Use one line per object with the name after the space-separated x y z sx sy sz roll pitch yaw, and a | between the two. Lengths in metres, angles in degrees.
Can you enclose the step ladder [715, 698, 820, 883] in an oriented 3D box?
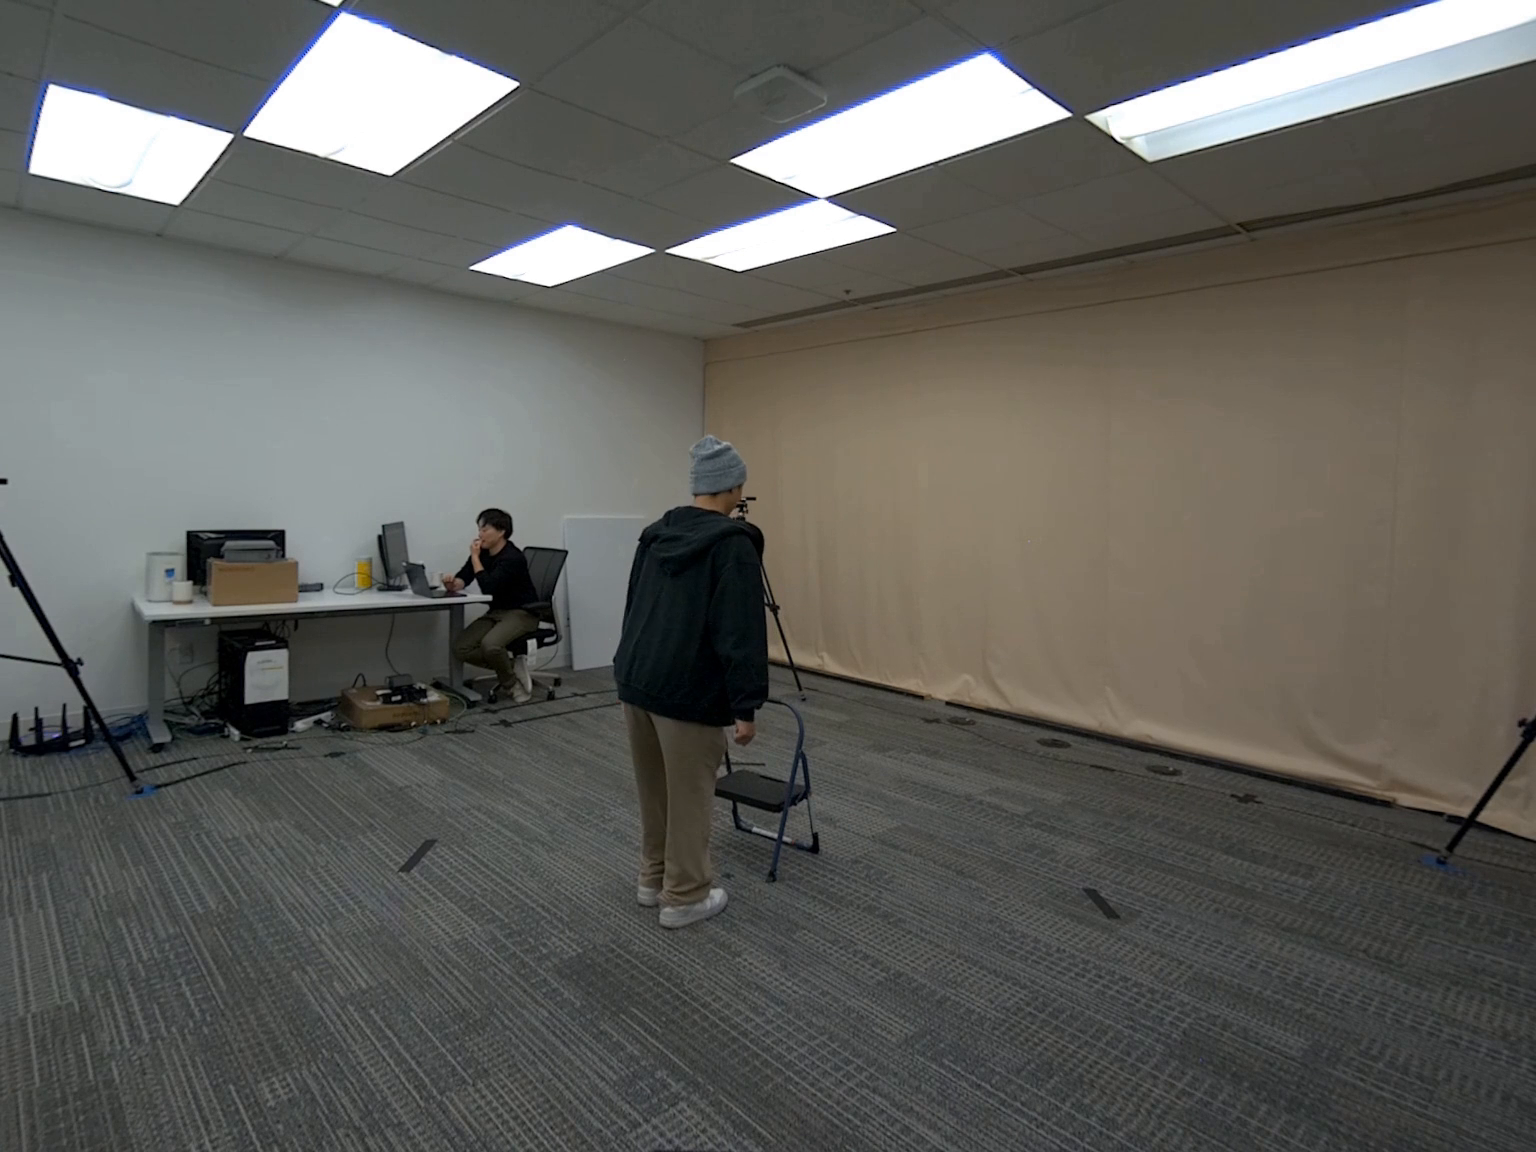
-0.055 0.789 3.306 0.441 0.604 0.342 4 4 36 | step ladder
